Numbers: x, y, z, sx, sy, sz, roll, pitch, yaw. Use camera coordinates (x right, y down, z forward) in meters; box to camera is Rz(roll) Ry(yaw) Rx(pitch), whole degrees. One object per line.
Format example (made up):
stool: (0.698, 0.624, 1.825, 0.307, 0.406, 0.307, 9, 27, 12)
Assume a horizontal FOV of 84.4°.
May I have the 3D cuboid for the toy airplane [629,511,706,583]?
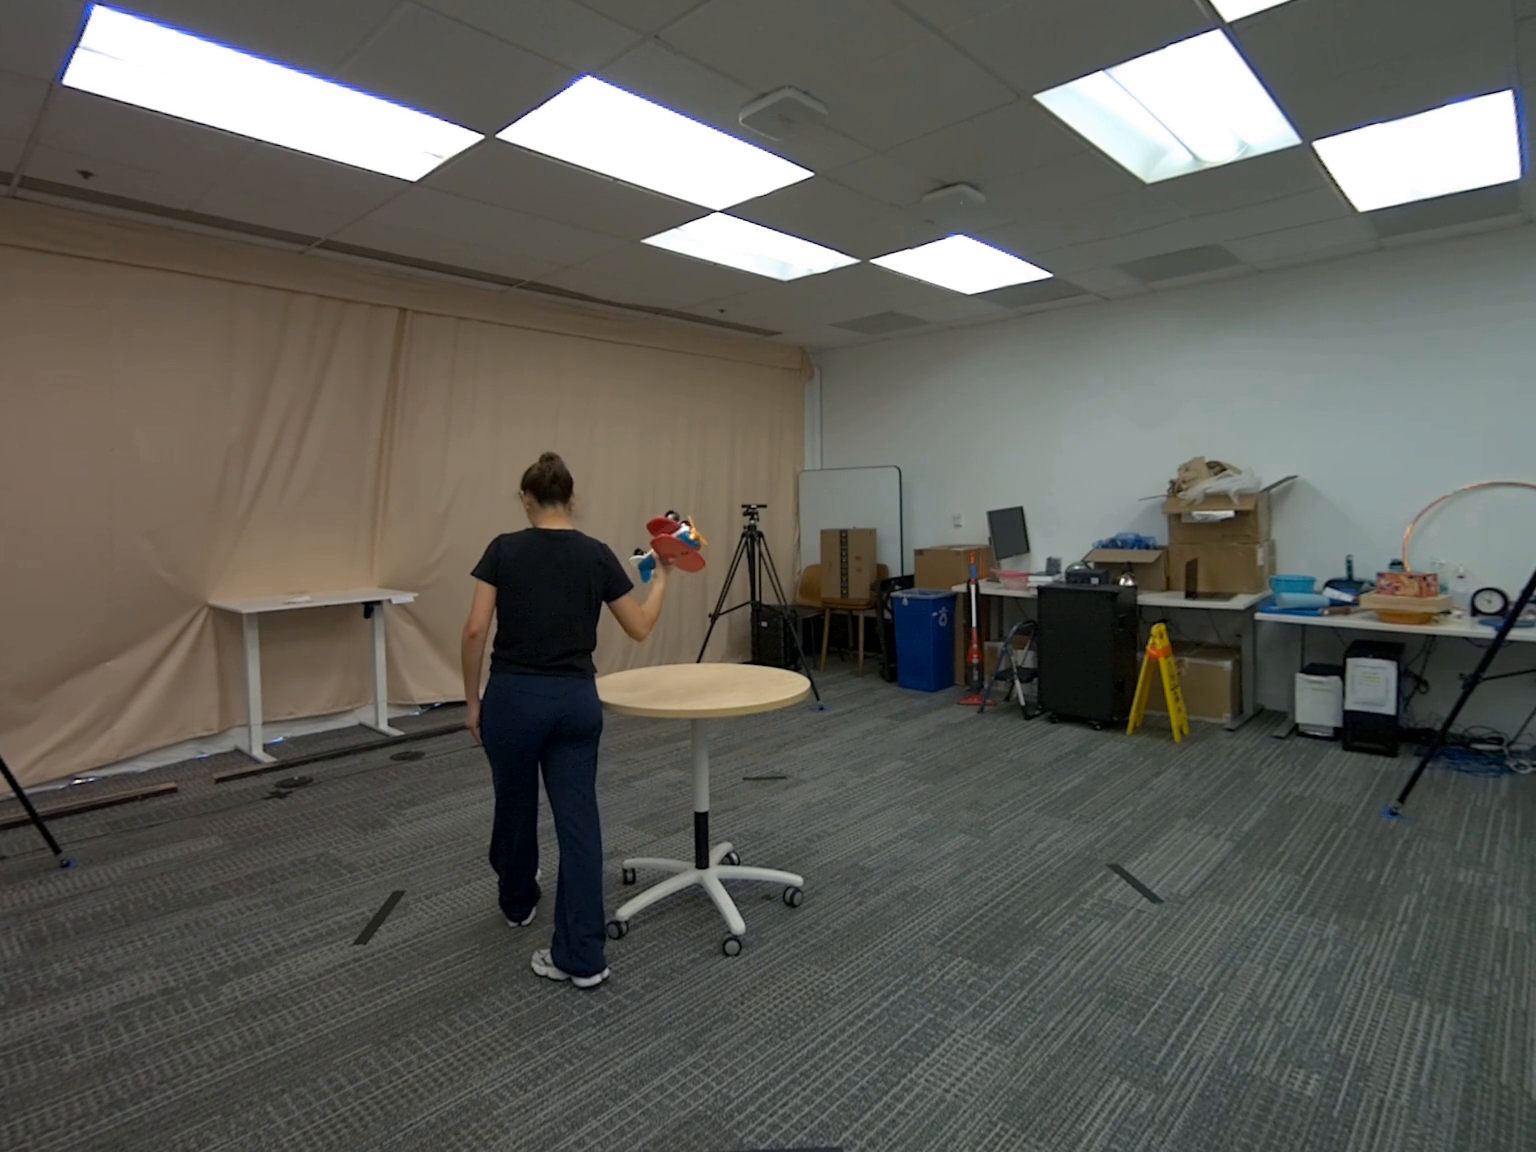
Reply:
toy airplane: (-0.334, -0.103, 2.908, 0.243, 0.259, 0.161, 3, 39, -37)
